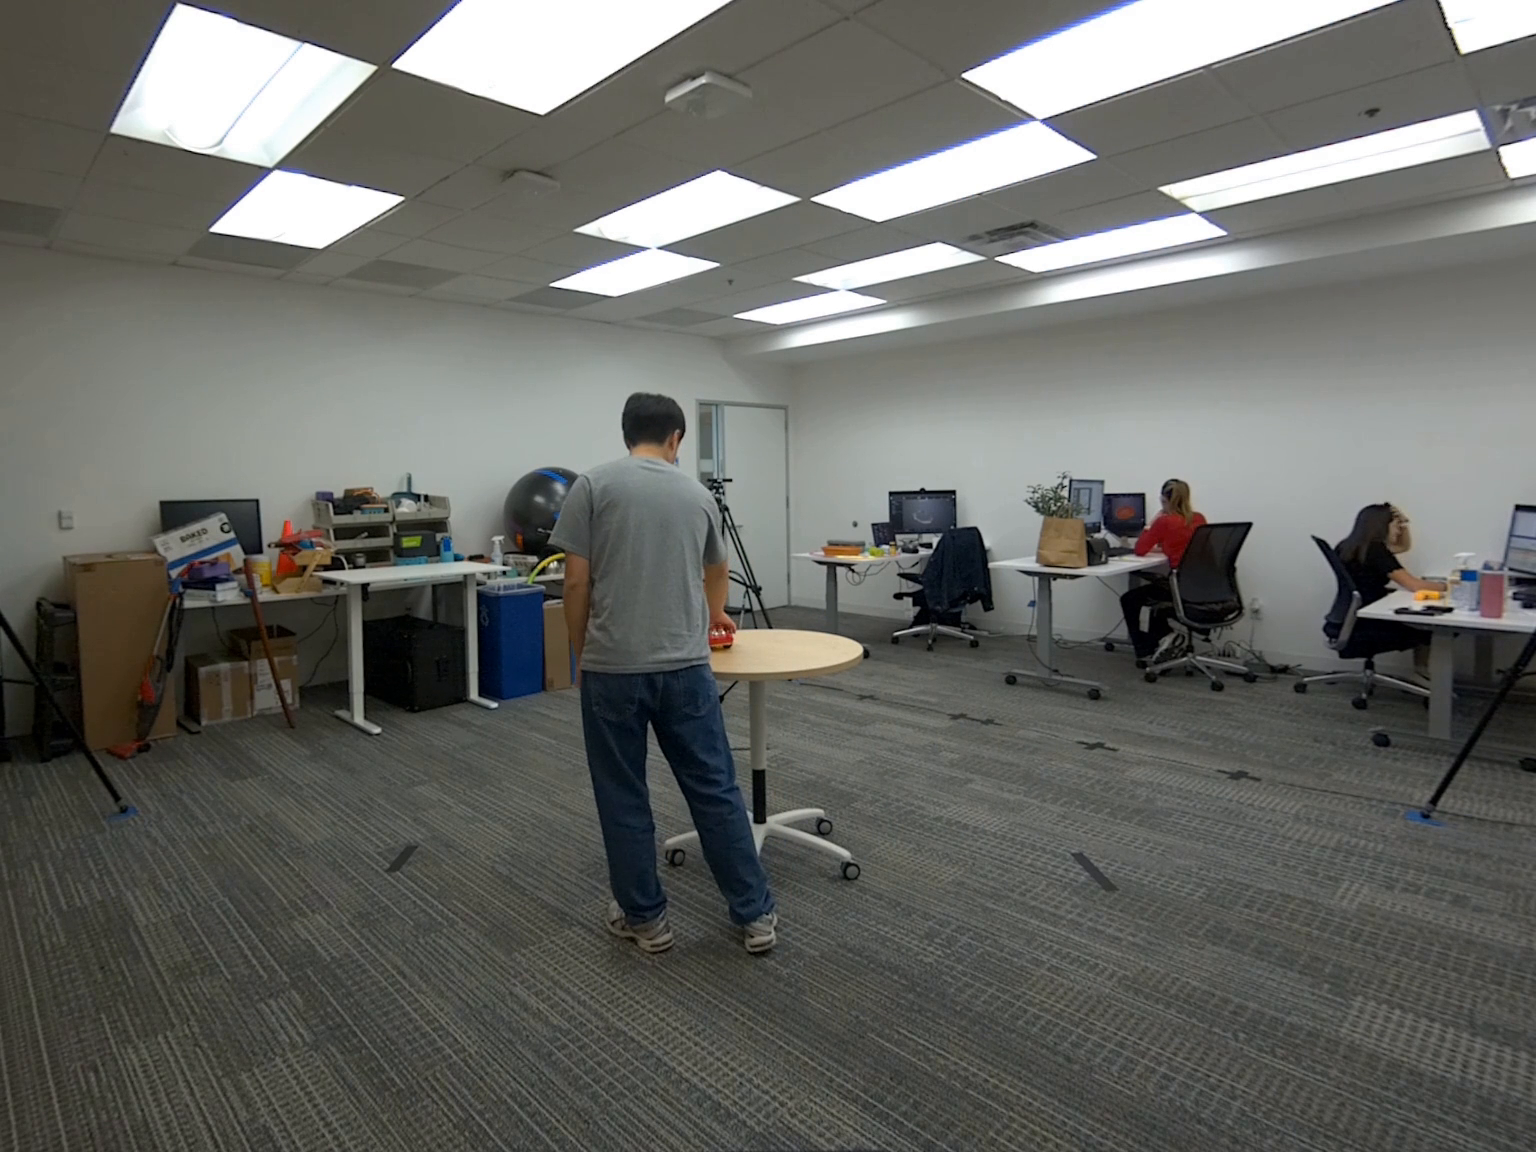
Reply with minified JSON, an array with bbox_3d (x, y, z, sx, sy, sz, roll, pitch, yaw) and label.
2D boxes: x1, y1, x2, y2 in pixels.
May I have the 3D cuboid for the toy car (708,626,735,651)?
[{"bbox_3d":[-0.204,0.229,3.148,0.128,0.083,0.258,-3,-4,-24],"label":"toy car"}]
